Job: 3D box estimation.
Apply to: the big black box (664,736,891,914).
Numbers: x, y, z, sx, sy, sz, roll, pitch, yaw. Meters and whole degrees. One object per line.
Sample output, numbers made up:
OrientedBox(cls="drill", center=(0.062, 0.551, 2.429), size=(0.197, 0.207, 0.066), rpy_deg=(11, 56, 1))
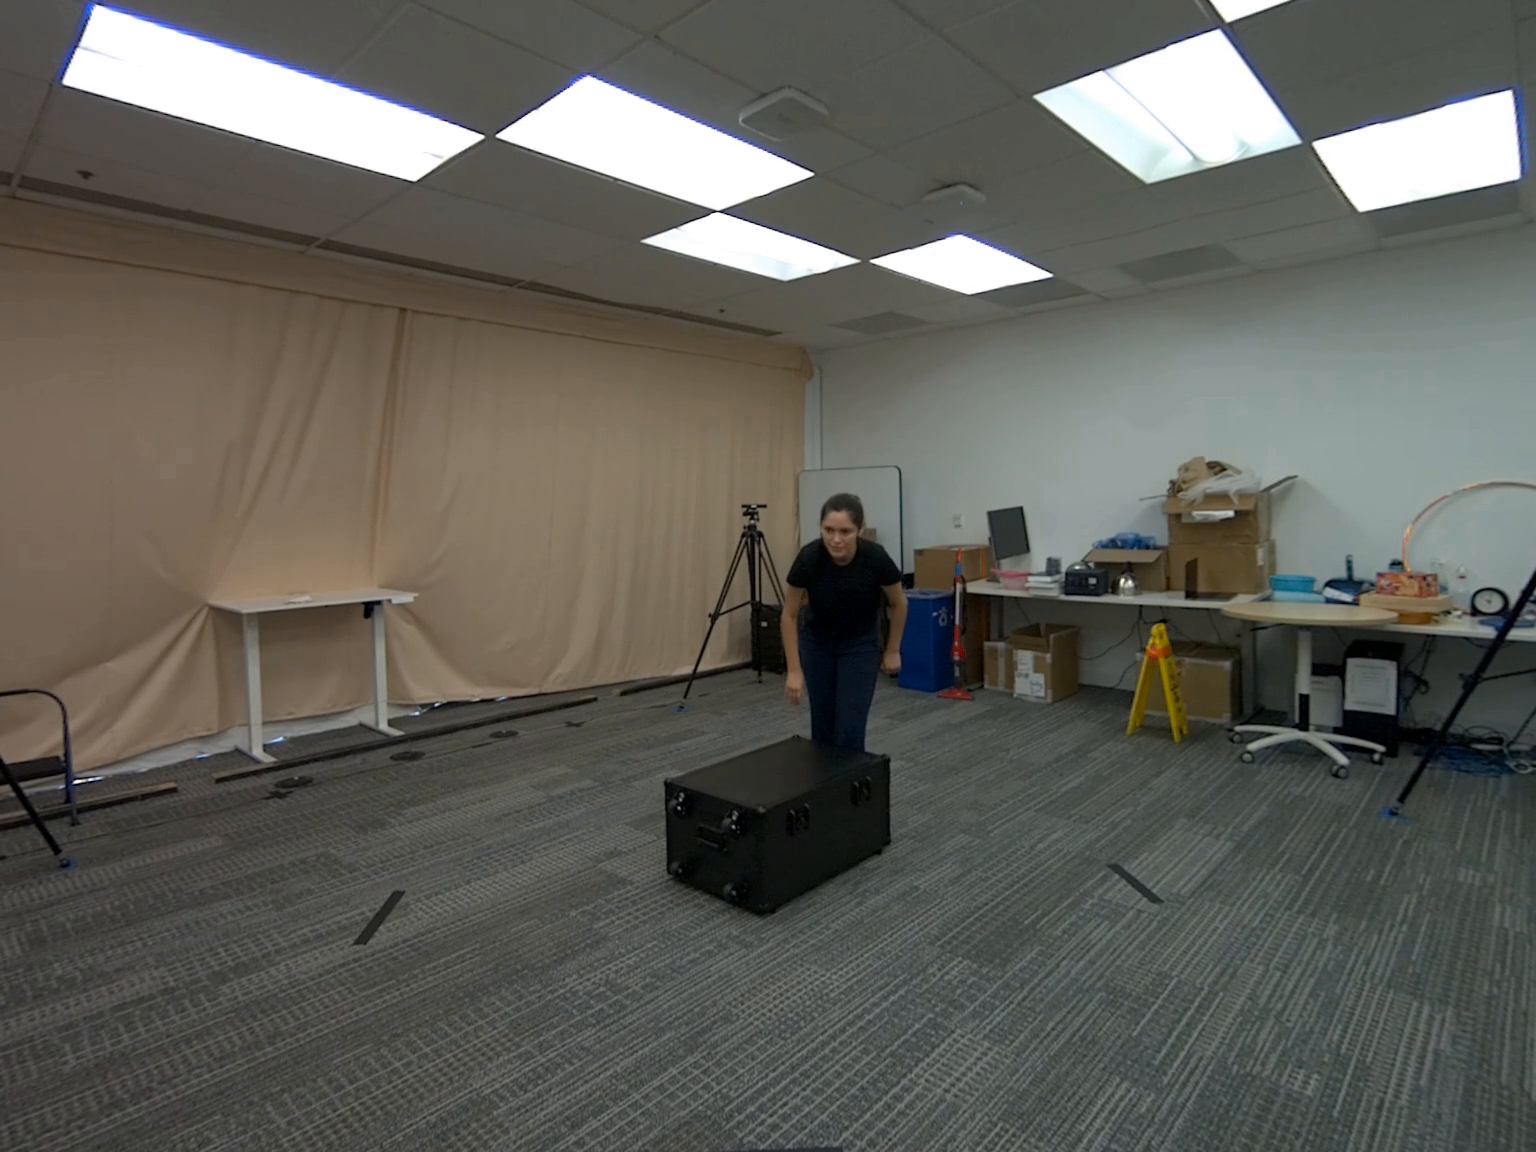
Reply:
OrientedBox(cls="big black box", center=(0.045, 0.911, 3.220), size=(0.538, 0.395, 0.836), rpy_deg=(3, 6, 42))
